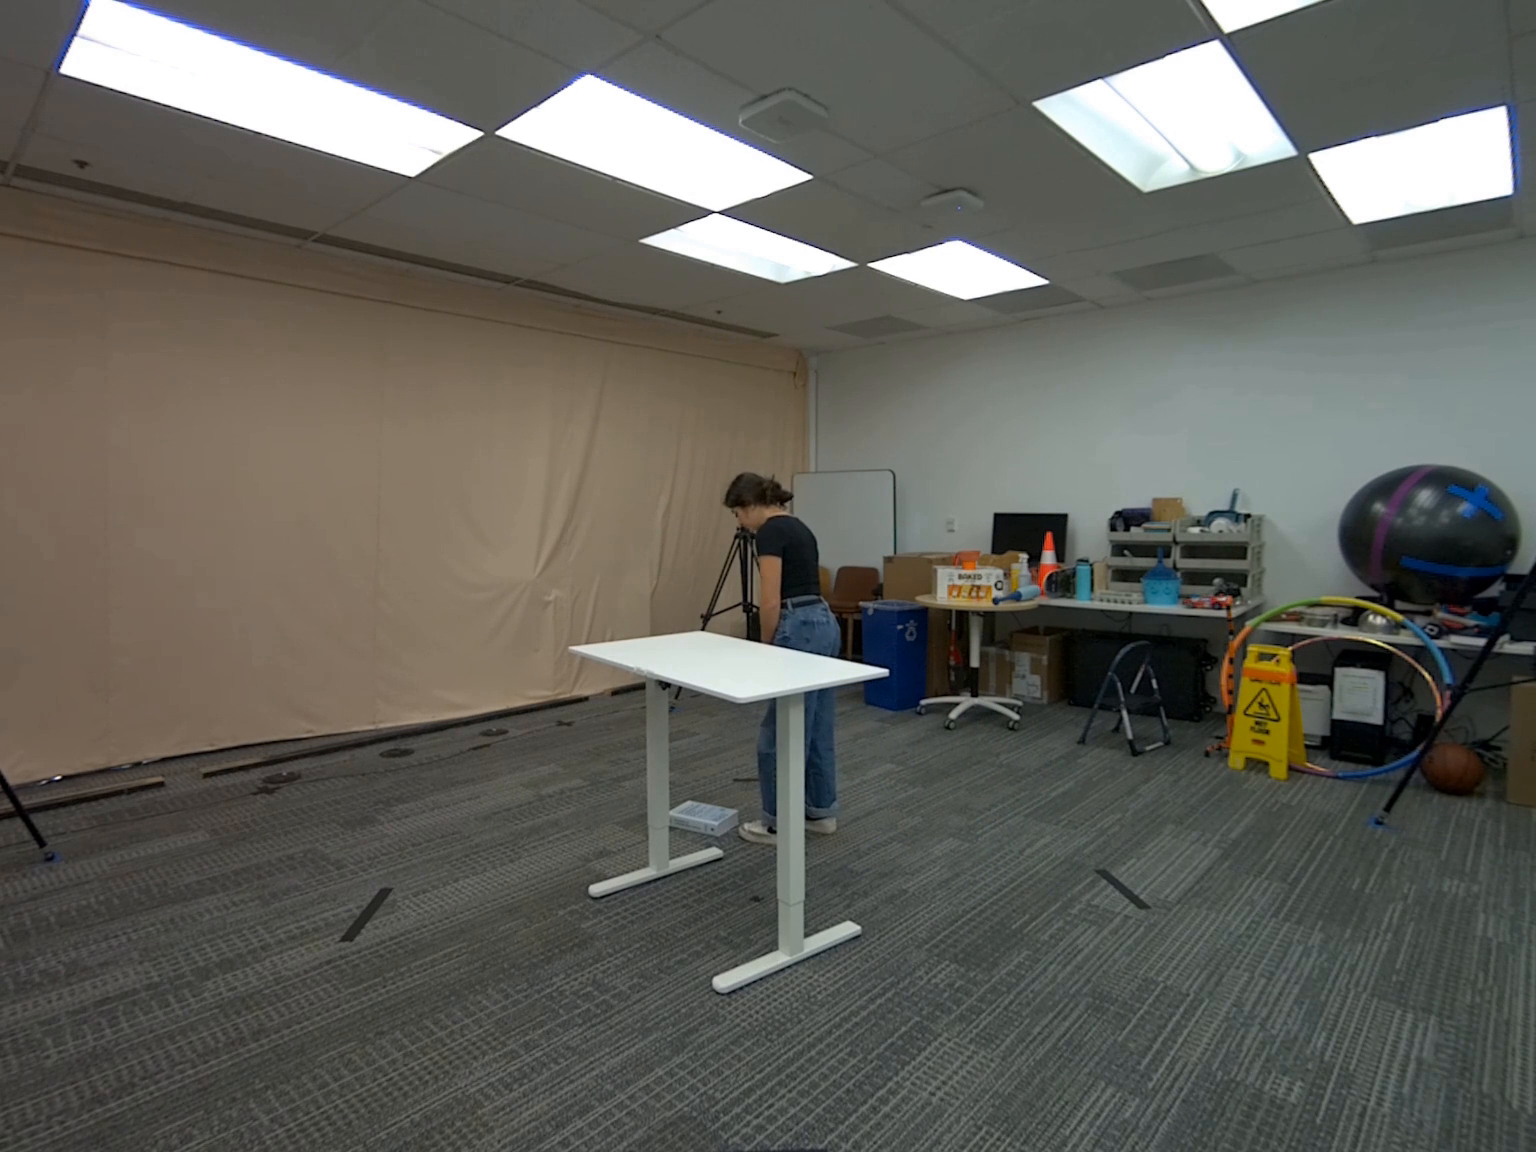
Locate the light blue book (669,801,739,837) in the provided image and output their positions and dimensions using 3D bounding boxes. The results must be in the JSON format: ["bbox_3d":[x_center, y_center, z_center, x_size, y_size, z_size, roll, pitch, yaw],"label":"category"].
[{"bbox_3d":[-0.284,1.060,3.686,0.268,0.059,0.186,2,5,29],"label":"light blue book"}]
